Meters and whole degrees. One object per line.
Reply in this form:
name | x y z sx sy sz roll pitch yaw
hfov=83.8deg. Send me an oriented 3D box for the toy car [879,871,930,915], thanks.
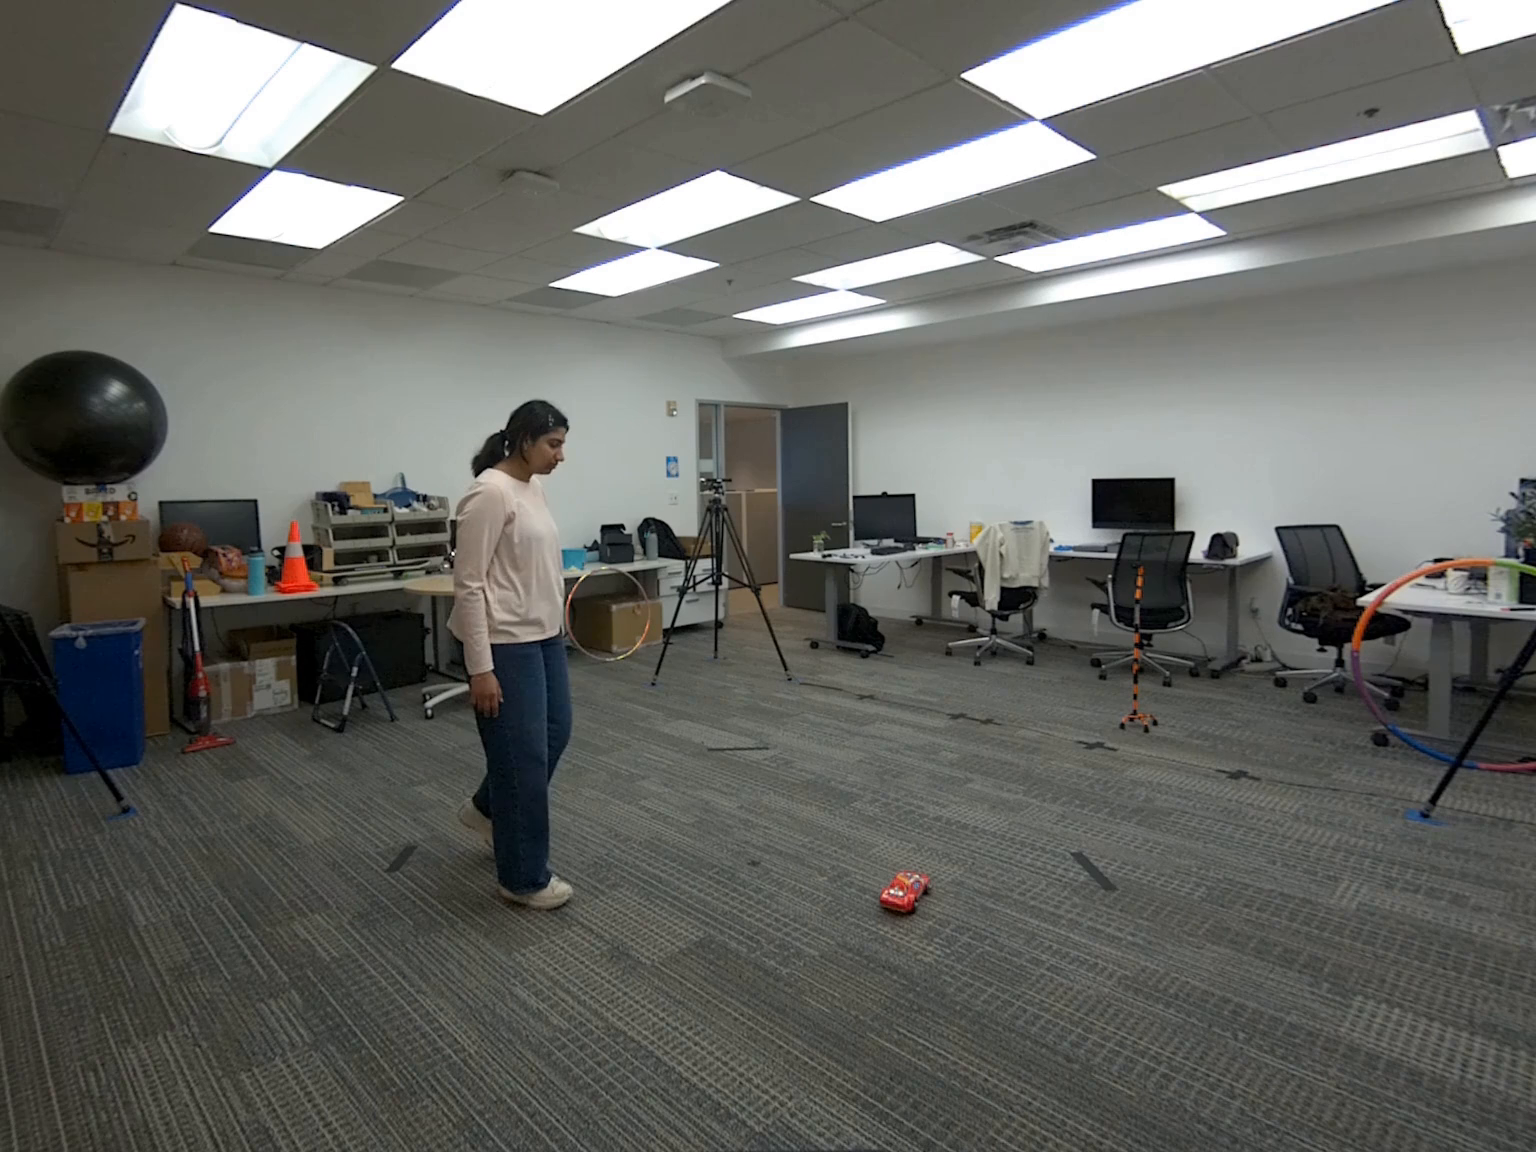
toy car | 0.446 1.033 2.798 0.134 0.083 0.247 4 -3 30
